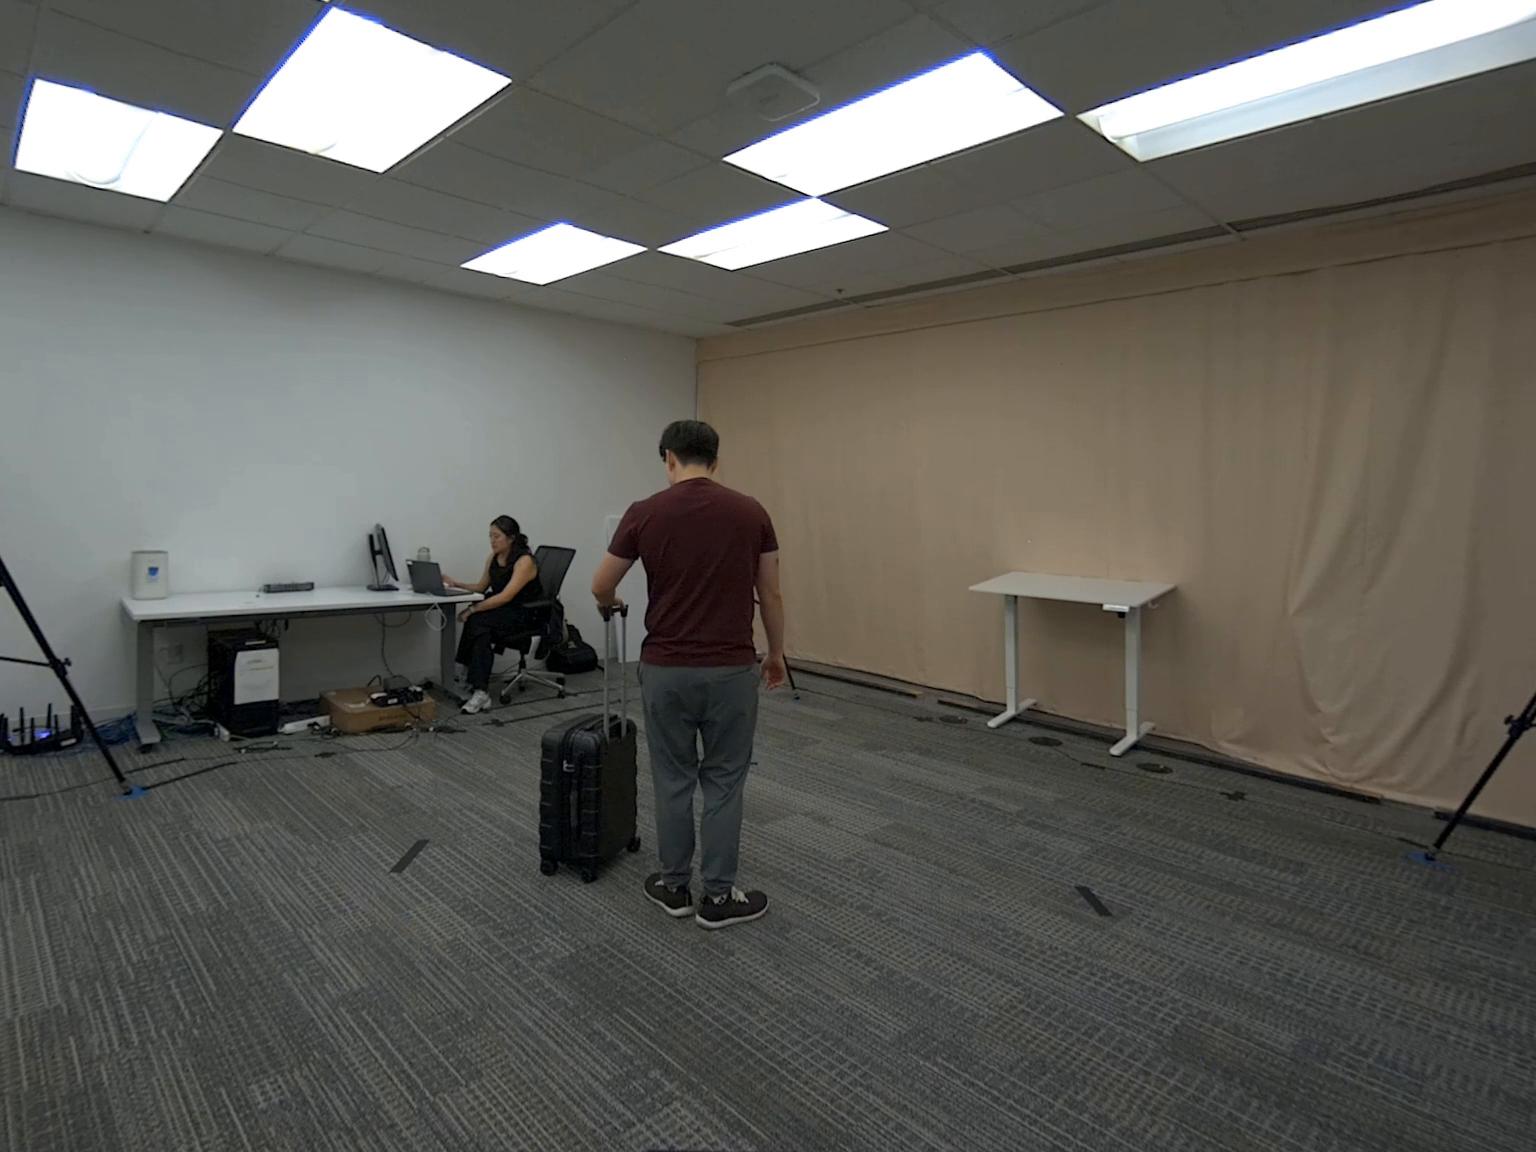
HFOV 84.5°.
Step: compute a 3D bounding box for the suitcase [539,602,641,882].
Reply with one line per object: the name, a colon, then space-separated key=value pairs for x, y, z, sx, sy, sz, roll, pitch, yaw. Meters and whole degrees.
suitcase: x=-0.679 y=0.609 z=3.166 sx=0.261 sy=0.977 sz=0.379 roll=0 pitch=2 yaw=18
